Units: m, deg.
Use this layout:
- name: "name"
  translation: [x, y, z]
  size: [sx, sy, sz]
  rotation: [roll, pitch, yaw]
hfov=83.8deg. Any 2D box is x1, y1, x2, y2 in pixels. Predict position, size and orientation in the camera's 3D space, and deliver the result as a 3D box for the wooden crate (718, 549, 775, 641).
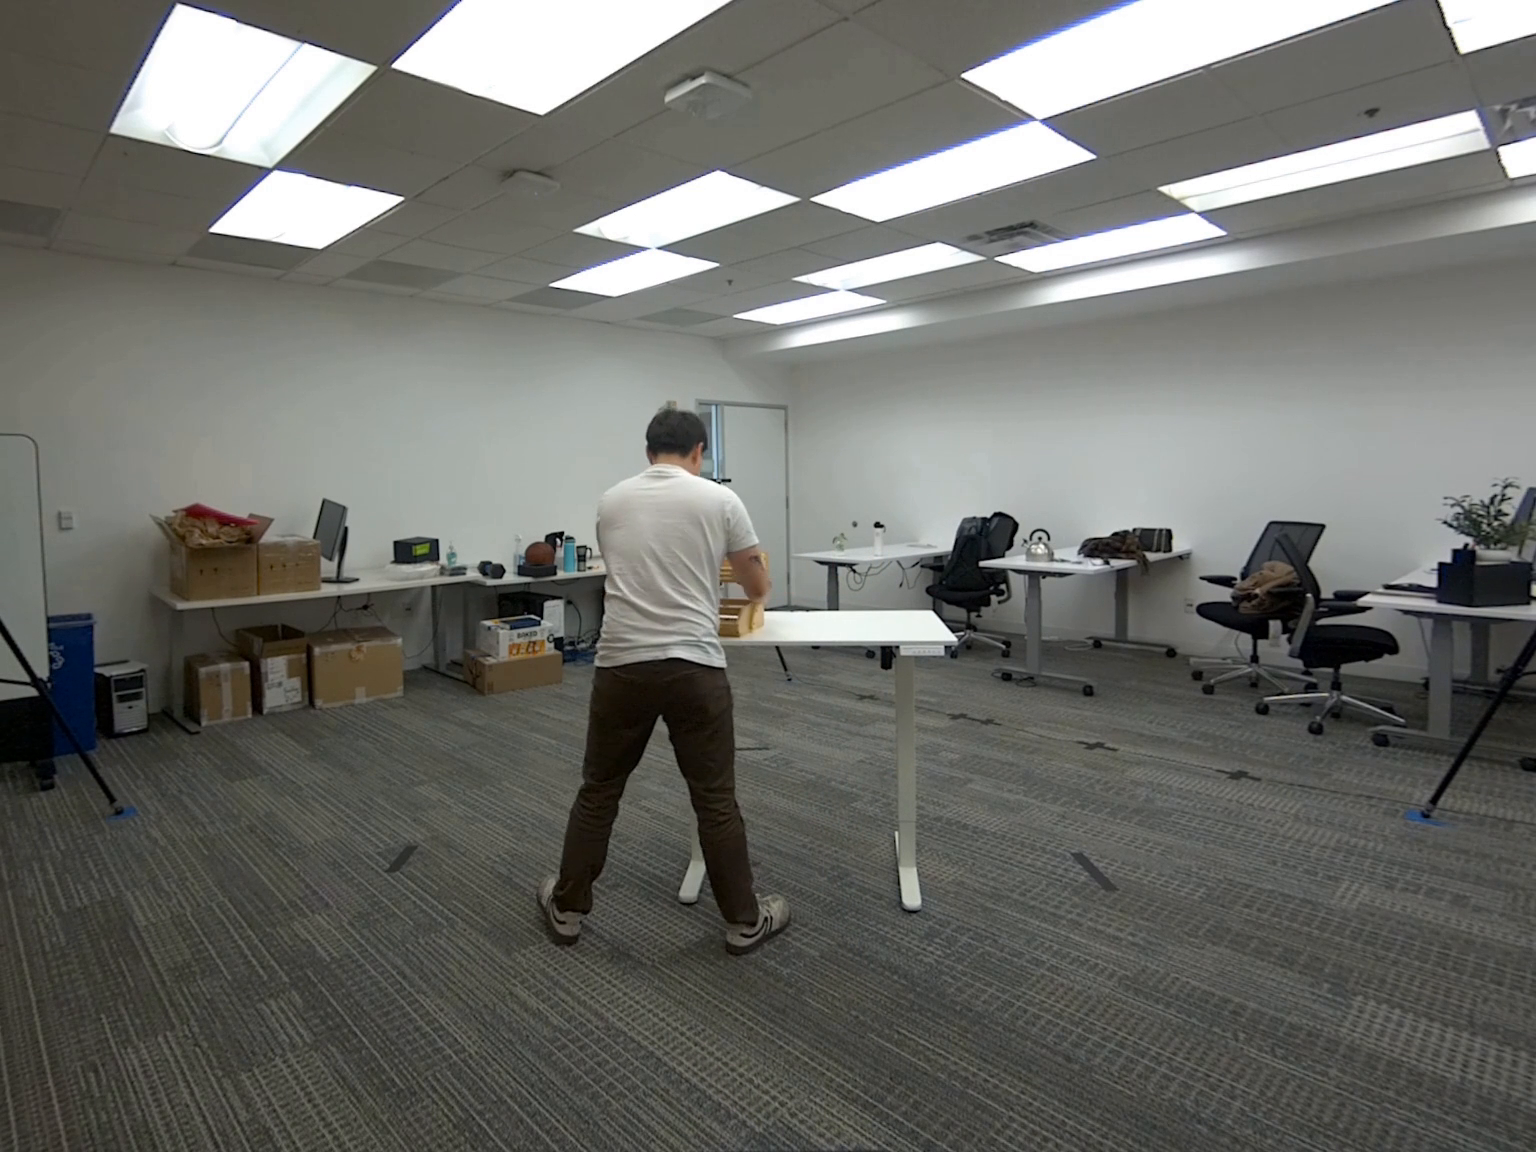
- name: "wooden crate"
  translation: [-0.186, 0.052, 2.956]
  size: [0.331, 0.272, 0.297]
  rotation: [1, 5, 21]
